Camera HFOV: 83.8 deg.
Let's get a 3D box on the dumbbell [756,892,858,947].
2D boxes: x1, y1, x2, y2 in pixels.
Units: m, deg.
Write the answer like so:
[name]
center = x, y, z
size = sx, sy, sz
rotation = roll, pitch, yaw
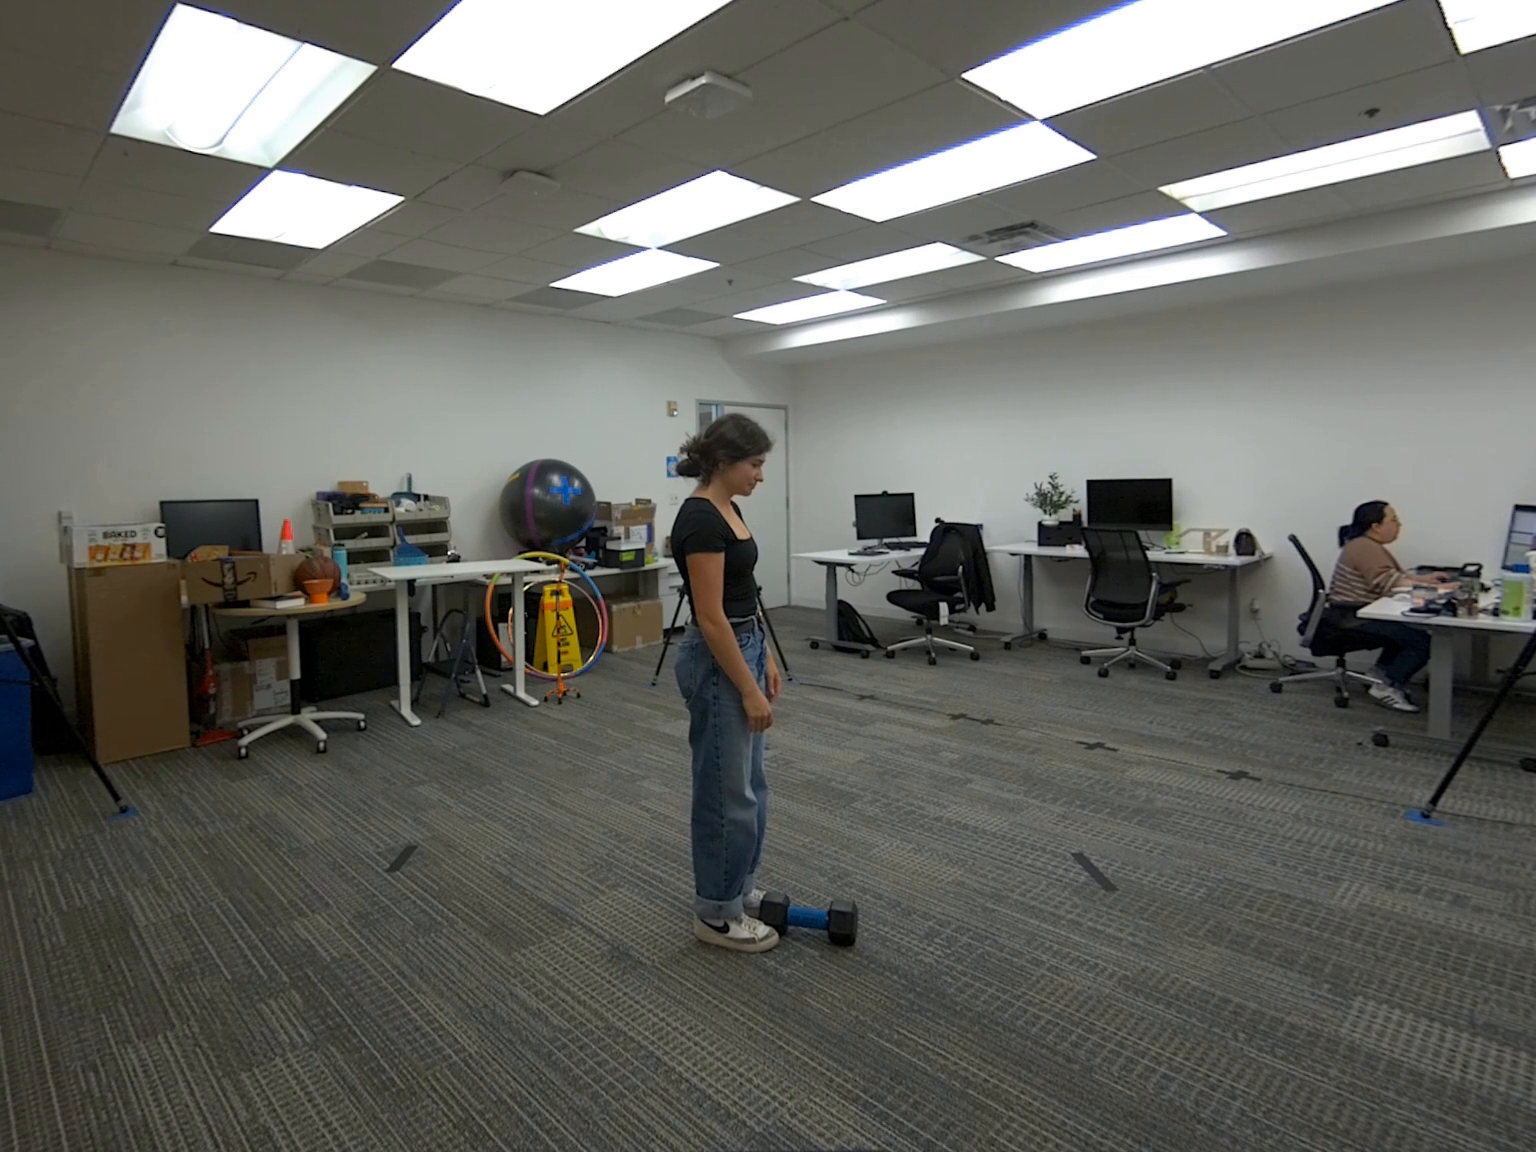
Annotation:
[dumbbell]
center = 0.136, 1.050, 2.603
size = 0.298, 0.119, 0.110
rotation = 0, 34, 17
